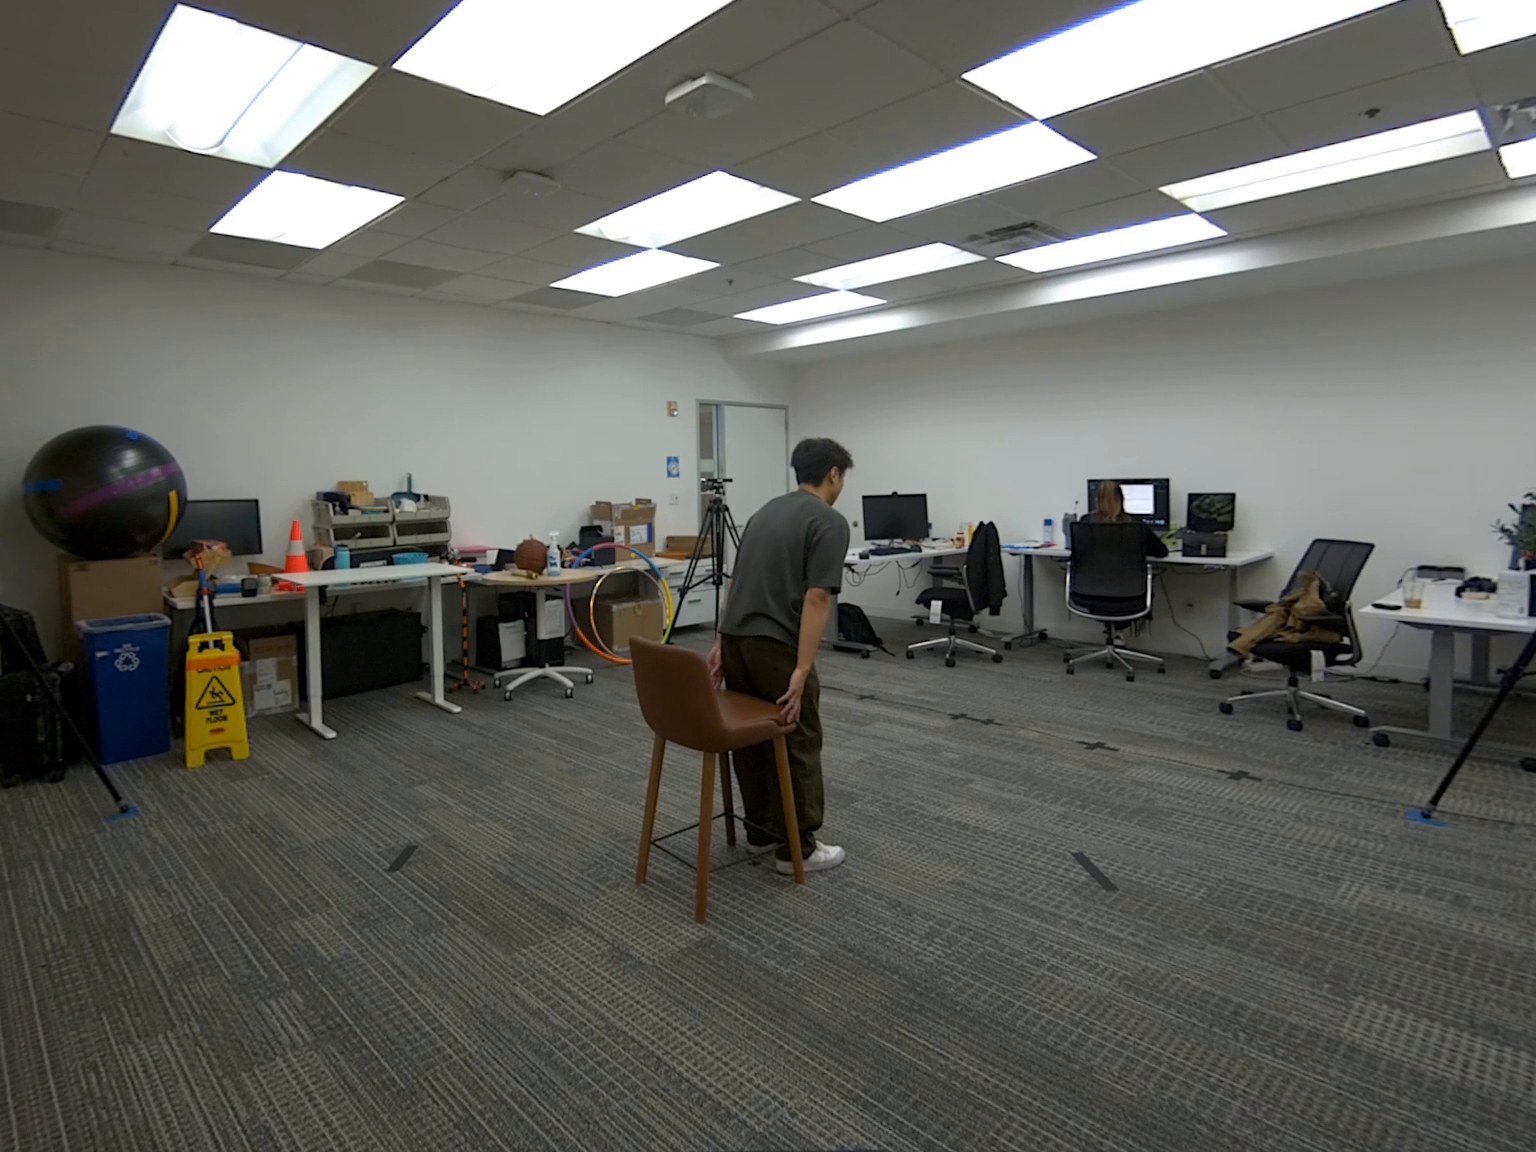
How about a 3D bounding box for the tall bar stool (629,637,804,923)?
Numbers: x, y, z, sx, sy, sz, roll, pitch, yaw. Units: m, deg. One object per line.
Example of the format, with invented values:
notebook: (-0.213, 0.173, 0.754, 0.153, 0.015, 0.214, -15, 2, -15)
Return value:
tall bar stool: (-0.178, 0.625, 2.937, 0.456, 0.885, 0.470, -7, 7, -40)
